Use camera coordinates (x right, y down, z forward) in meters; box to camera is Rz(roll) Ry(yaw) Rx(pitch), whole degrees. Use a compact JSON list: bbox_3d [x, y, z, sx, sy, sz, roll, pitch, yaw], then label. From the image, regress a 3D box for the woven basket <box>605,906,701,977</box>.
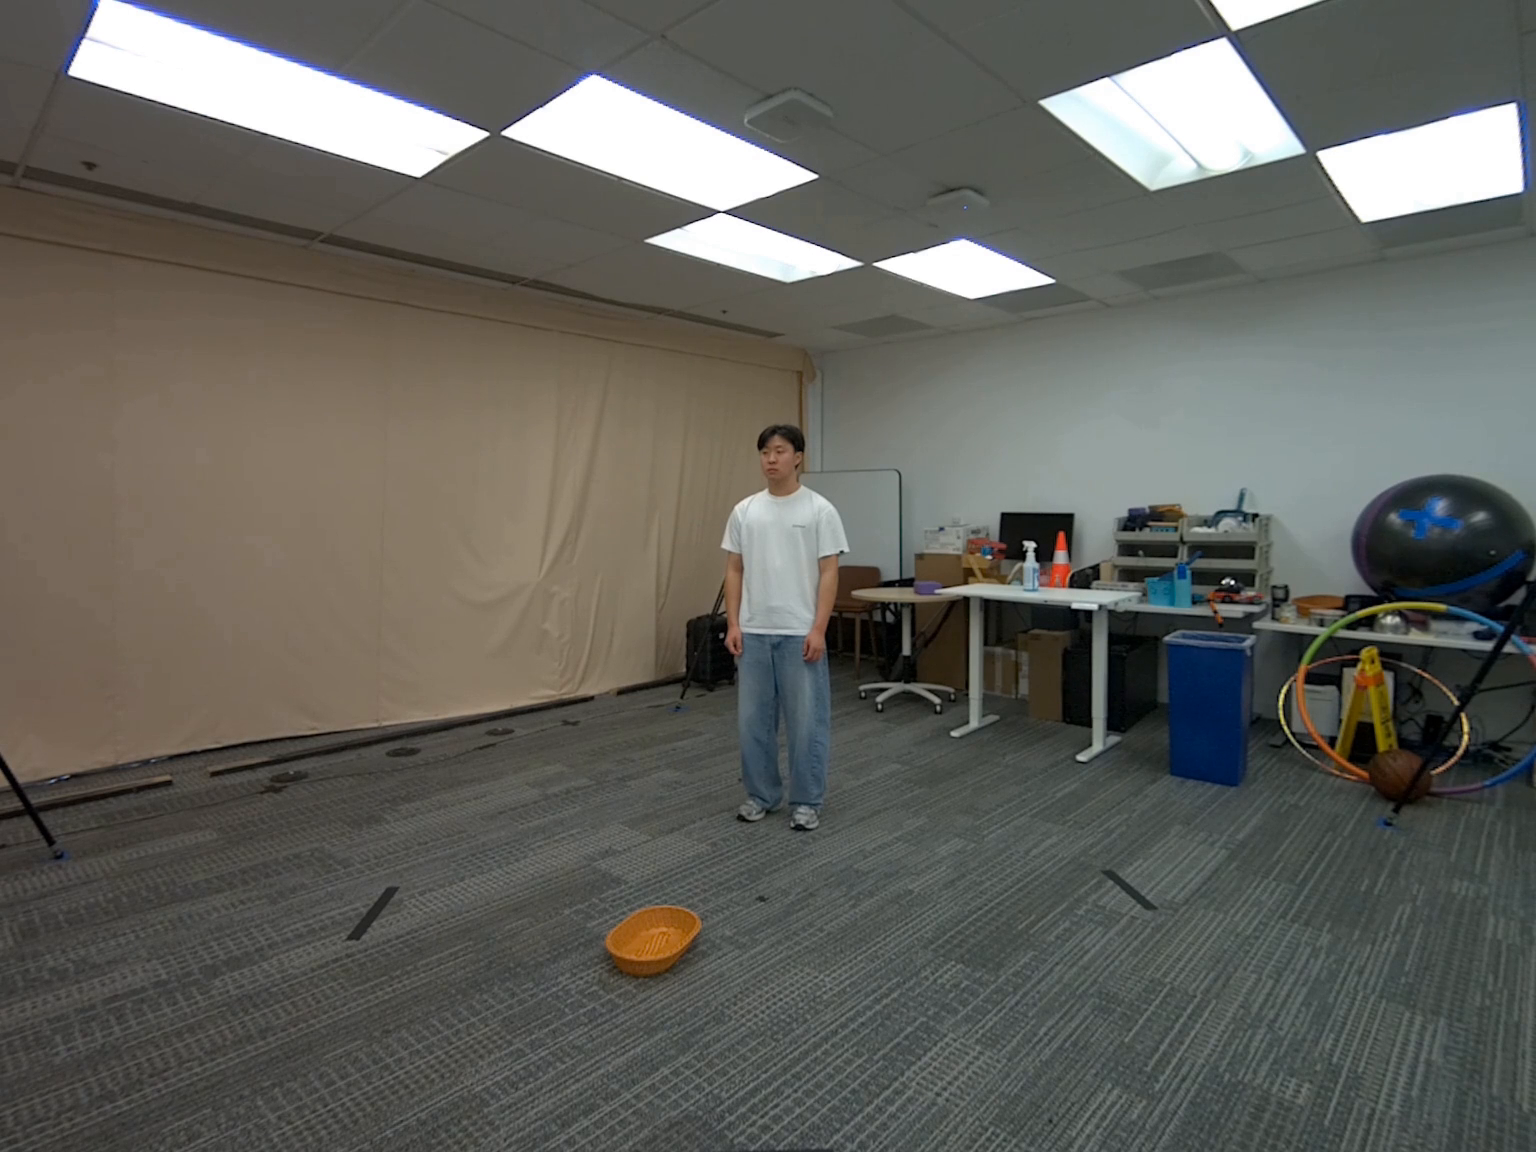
[{"bbox_3d":[-0.351,1.140,2.622,0.259,0.073,0.342,2,5,26],"label":"woven basket"}]
